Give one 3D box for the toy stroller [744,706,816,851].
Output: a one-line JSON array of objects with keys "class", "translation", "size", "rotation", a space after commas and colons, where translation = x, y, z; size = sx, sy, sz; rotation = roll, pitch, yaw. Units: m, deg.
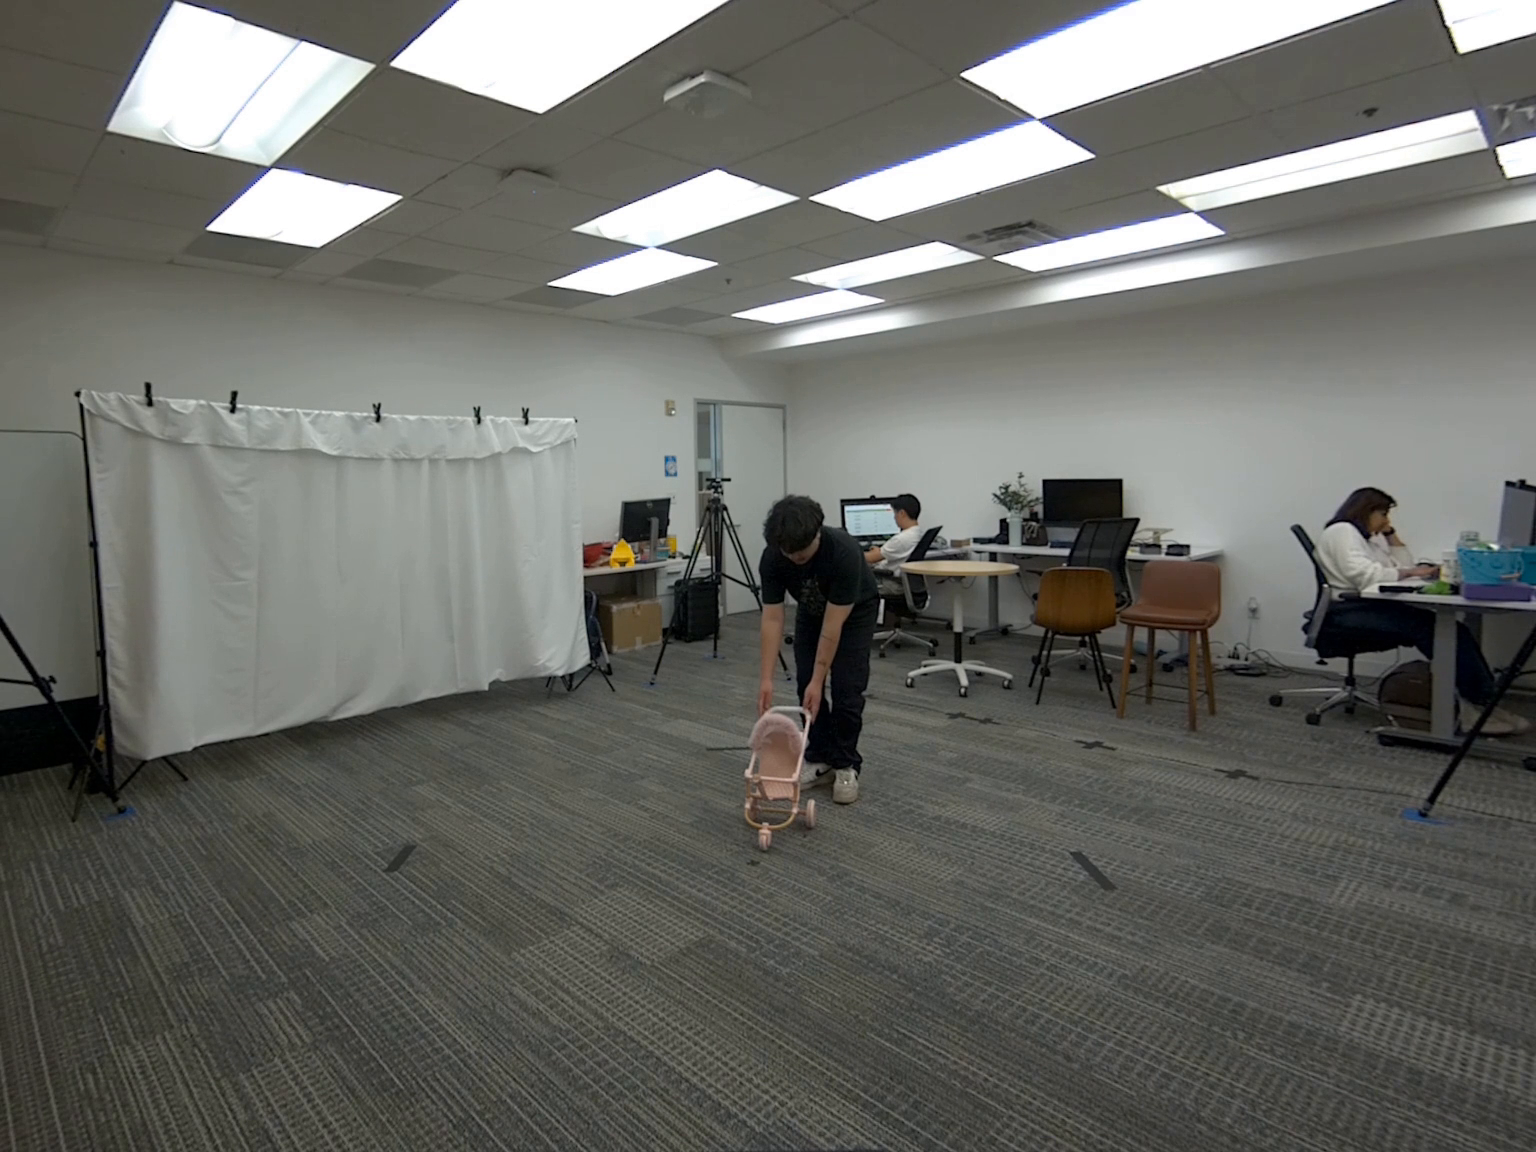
[{"class": "toy stroller", "translation": [0.030, 0.785, 3.377], "size": [0.287, 0.540, 0.332], "rotation": [0, -11, 21]}]
